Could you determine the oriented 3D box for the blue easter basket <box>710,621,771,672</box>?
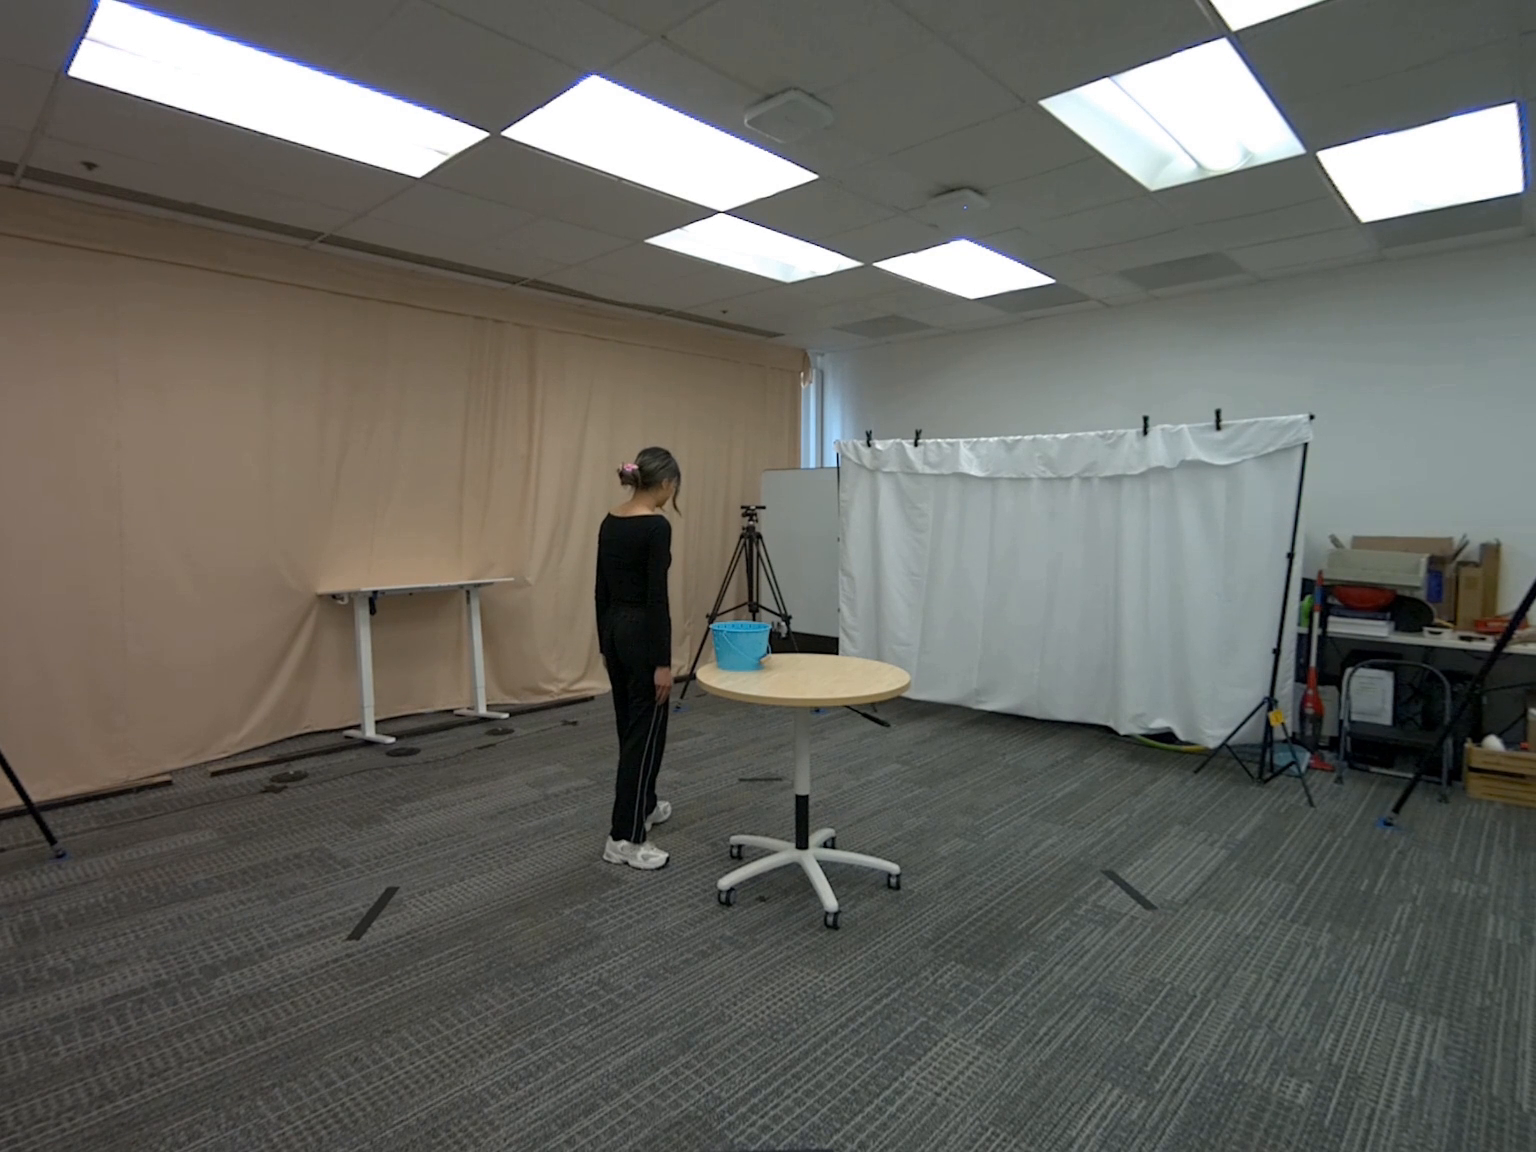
[{"bbox_3d":[-0.110,0.270,3.165,0.243,0.155,0.244,-2,4,-2],"label":"blue easter basket"}]
